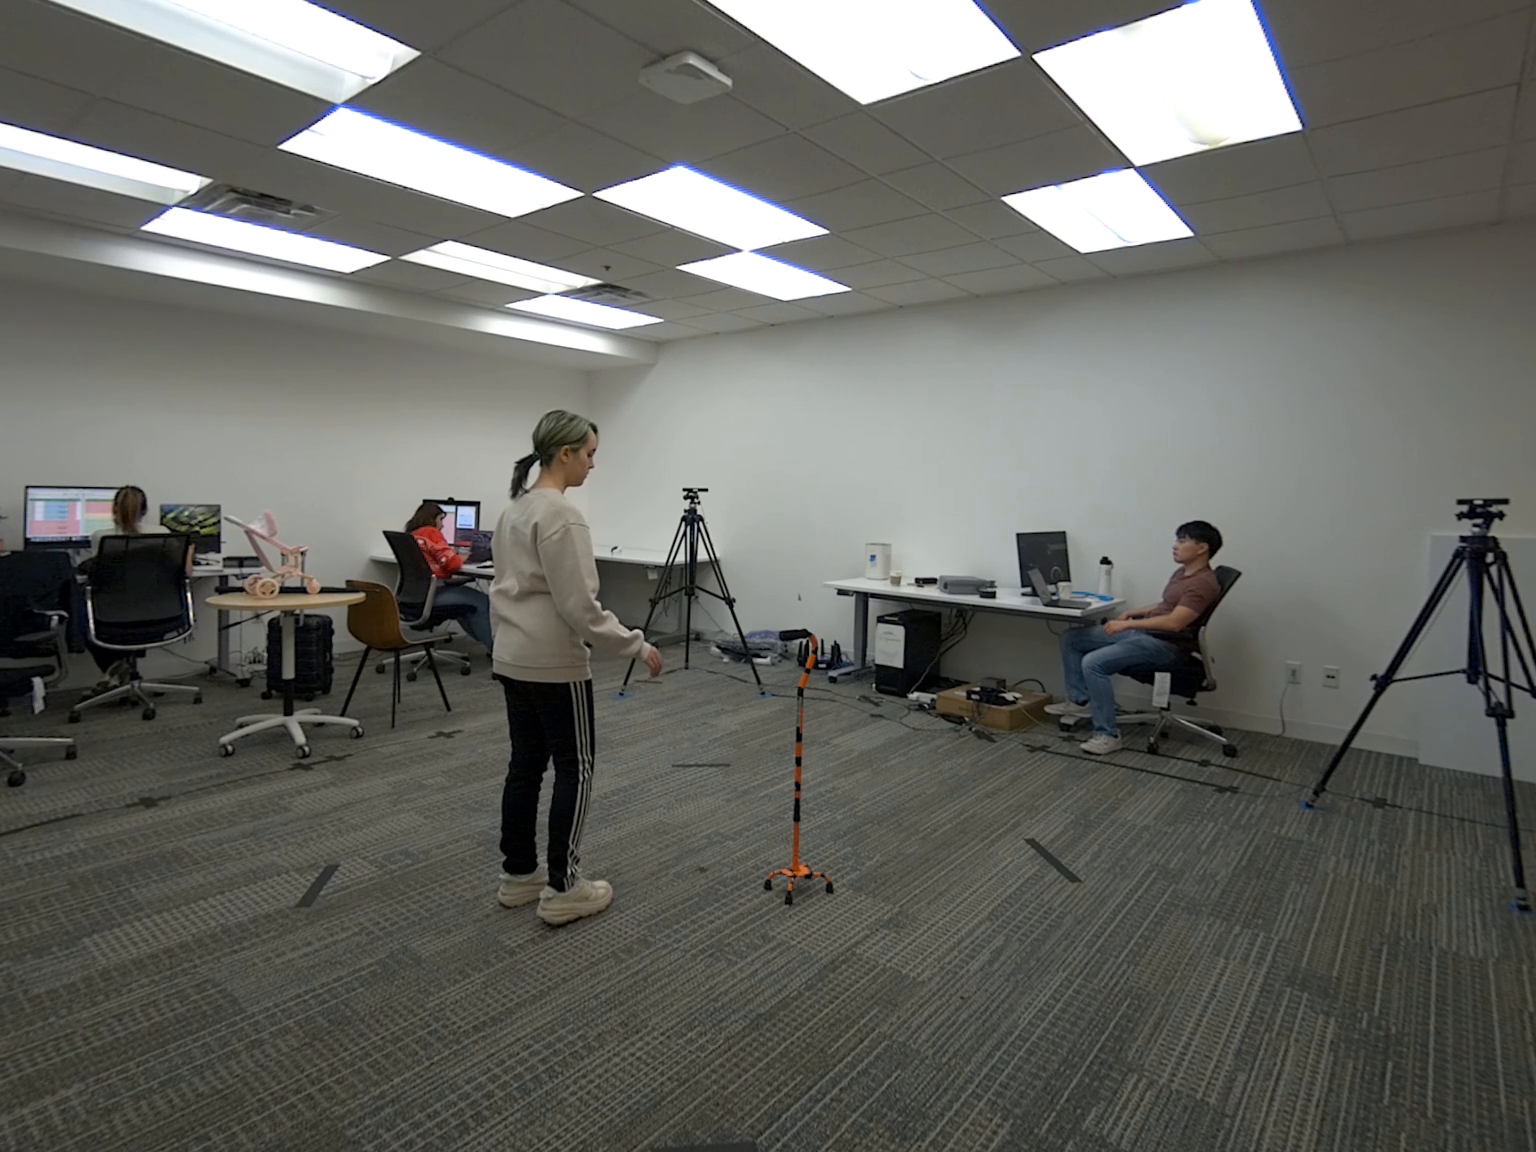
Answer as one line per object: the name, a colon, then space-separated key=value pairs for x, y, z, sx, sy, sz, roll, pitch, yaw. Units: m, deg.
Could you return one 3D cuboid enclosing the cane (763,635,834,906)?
cane: x=0.111 y=0.642 z=2.941 sx=0.201 sy=0.905 sz=0.156 roll=0 pitch=3 yaw=-32
